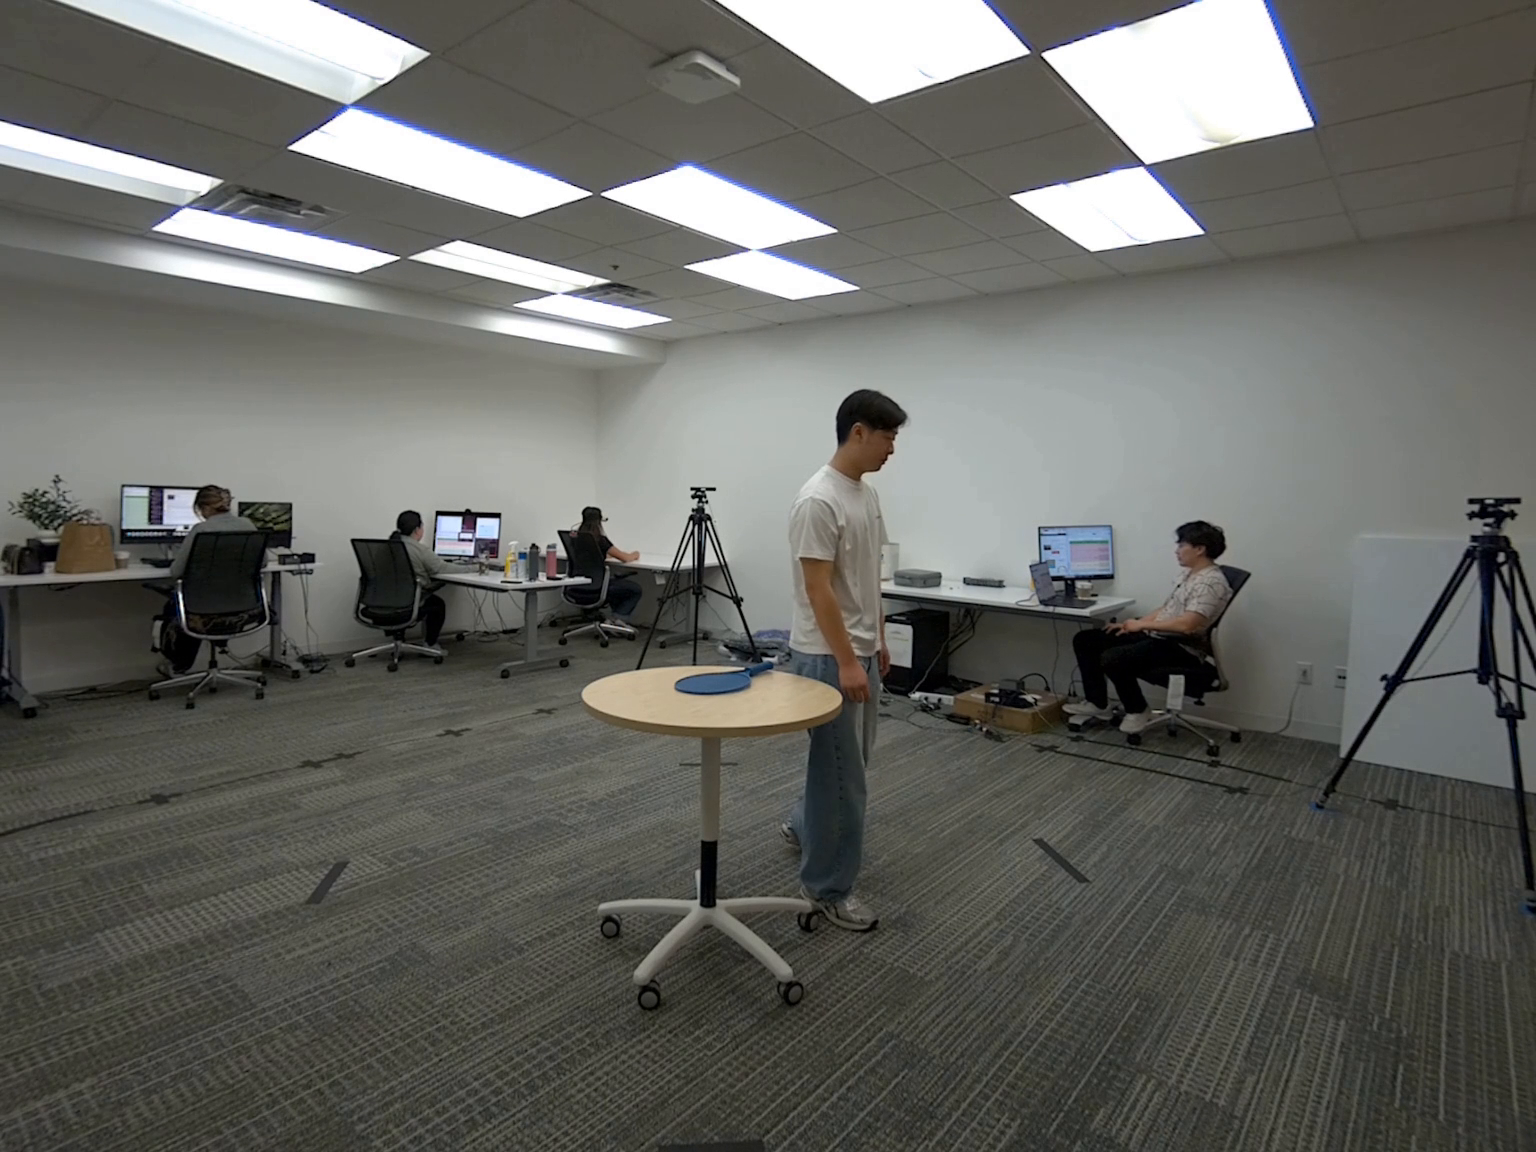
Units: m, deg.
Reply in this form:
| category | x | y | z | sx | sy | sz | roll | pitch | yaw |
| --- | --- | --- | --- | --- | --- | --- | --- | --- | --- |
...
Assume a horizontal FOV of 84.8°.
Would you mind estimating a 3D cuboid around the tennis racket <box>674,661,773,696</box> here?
| category | x | y | z | sx | sy | sz | roll | pitch | yaw |
| --- | --- | --- | --- | --- | --- | --- | --- | --- | --- |
| tennis racket | -0.124 | 0.320 | 2.670 | 0.221 | 0.031 | 0.421 | 5 | 9 | 39 |
